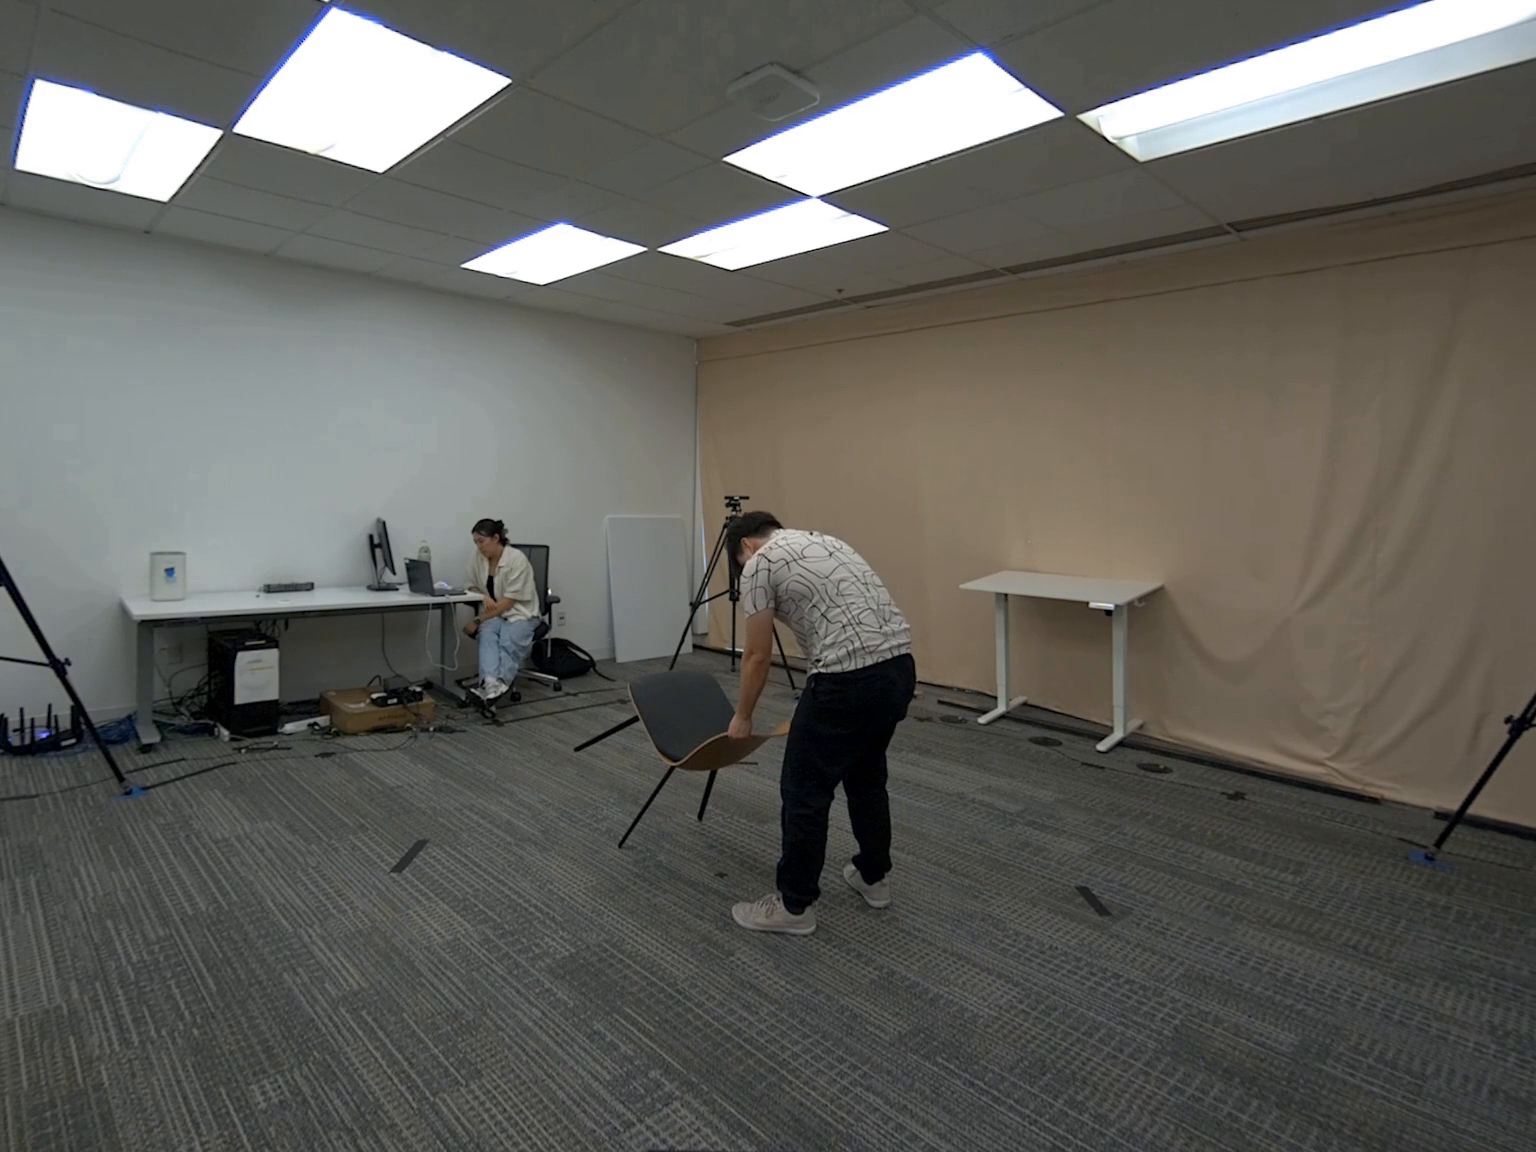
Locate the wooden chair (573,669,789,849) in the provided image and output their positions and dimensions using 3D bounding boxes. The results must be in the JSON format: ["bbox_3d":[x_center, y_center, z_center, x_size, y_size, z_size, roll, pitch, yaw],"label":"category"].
[{"bbox_3d":[-0.325,0.611,3.353,0.467,0.535,0.877,-1,-35,-46],"label":"wooden chair"}]
